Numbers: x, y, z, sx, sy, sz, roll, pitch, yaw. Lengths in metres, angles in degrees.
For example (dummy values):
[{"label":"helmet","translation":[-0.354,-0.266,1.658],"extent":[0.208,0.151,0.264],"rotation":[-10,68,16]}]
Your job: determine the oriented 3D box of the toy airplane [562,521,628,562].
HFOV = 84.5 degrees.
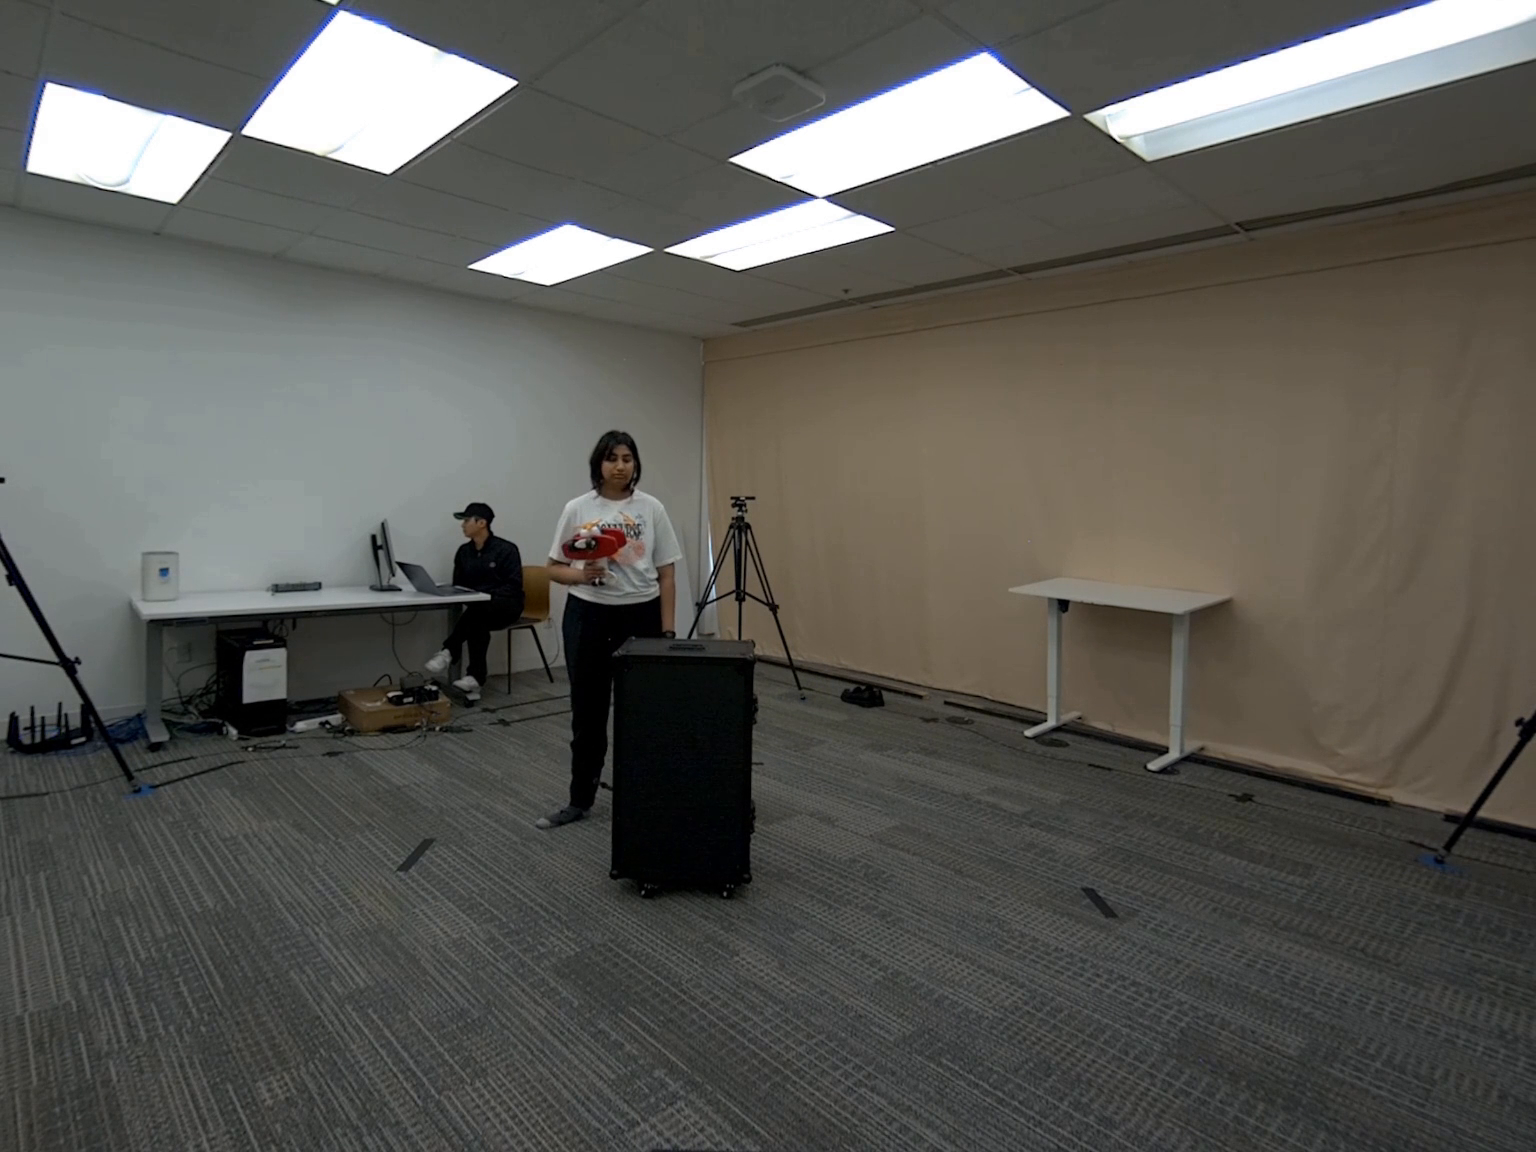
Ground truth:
[{"label":"toy airplane","translation":[-0.726,-0.090,3.384],"extent":[0.252,0.256,0.158],"rotation":[19,37,2]}]
